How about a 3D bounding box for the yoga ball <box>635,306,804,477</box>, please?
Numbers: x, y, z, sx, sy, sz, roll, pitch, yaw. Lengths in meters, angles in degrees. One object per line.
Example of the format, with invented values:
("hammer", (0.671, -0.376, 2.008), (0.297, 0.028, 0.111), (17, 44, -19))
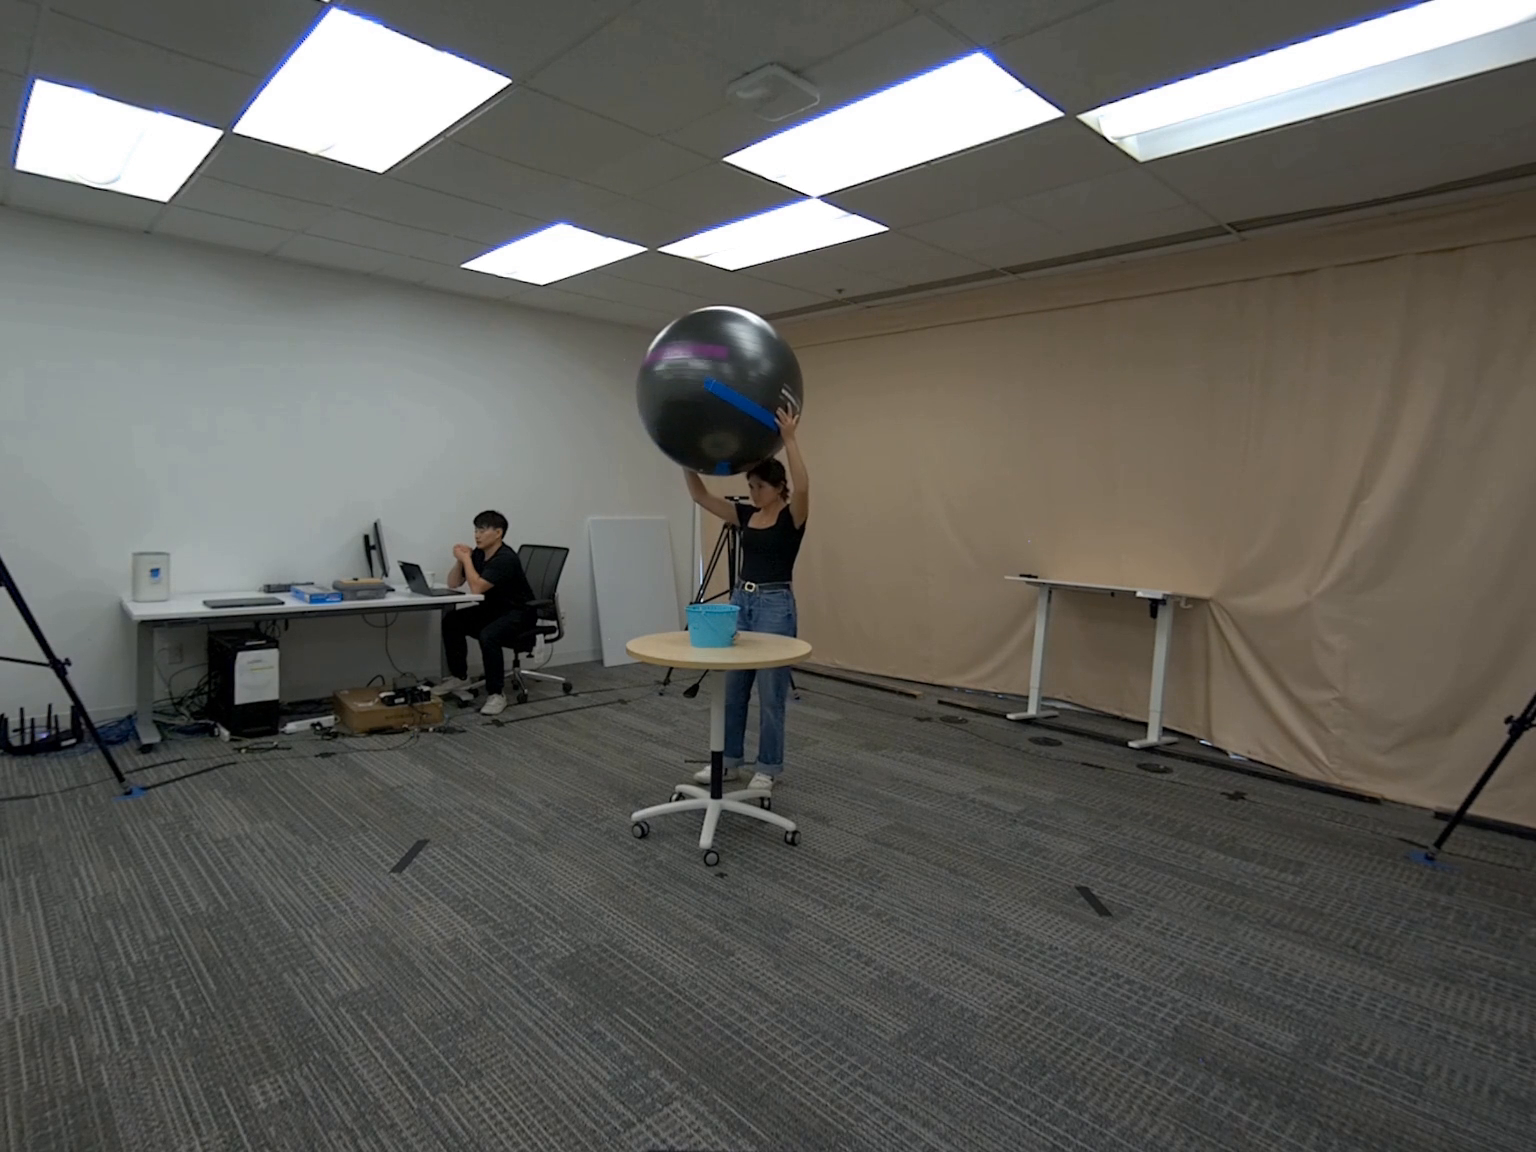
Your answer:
("yoga ball", (-0.229, -0.828, 3.846), (0.757, 0.756, 0.761), (1, 4, -1))
